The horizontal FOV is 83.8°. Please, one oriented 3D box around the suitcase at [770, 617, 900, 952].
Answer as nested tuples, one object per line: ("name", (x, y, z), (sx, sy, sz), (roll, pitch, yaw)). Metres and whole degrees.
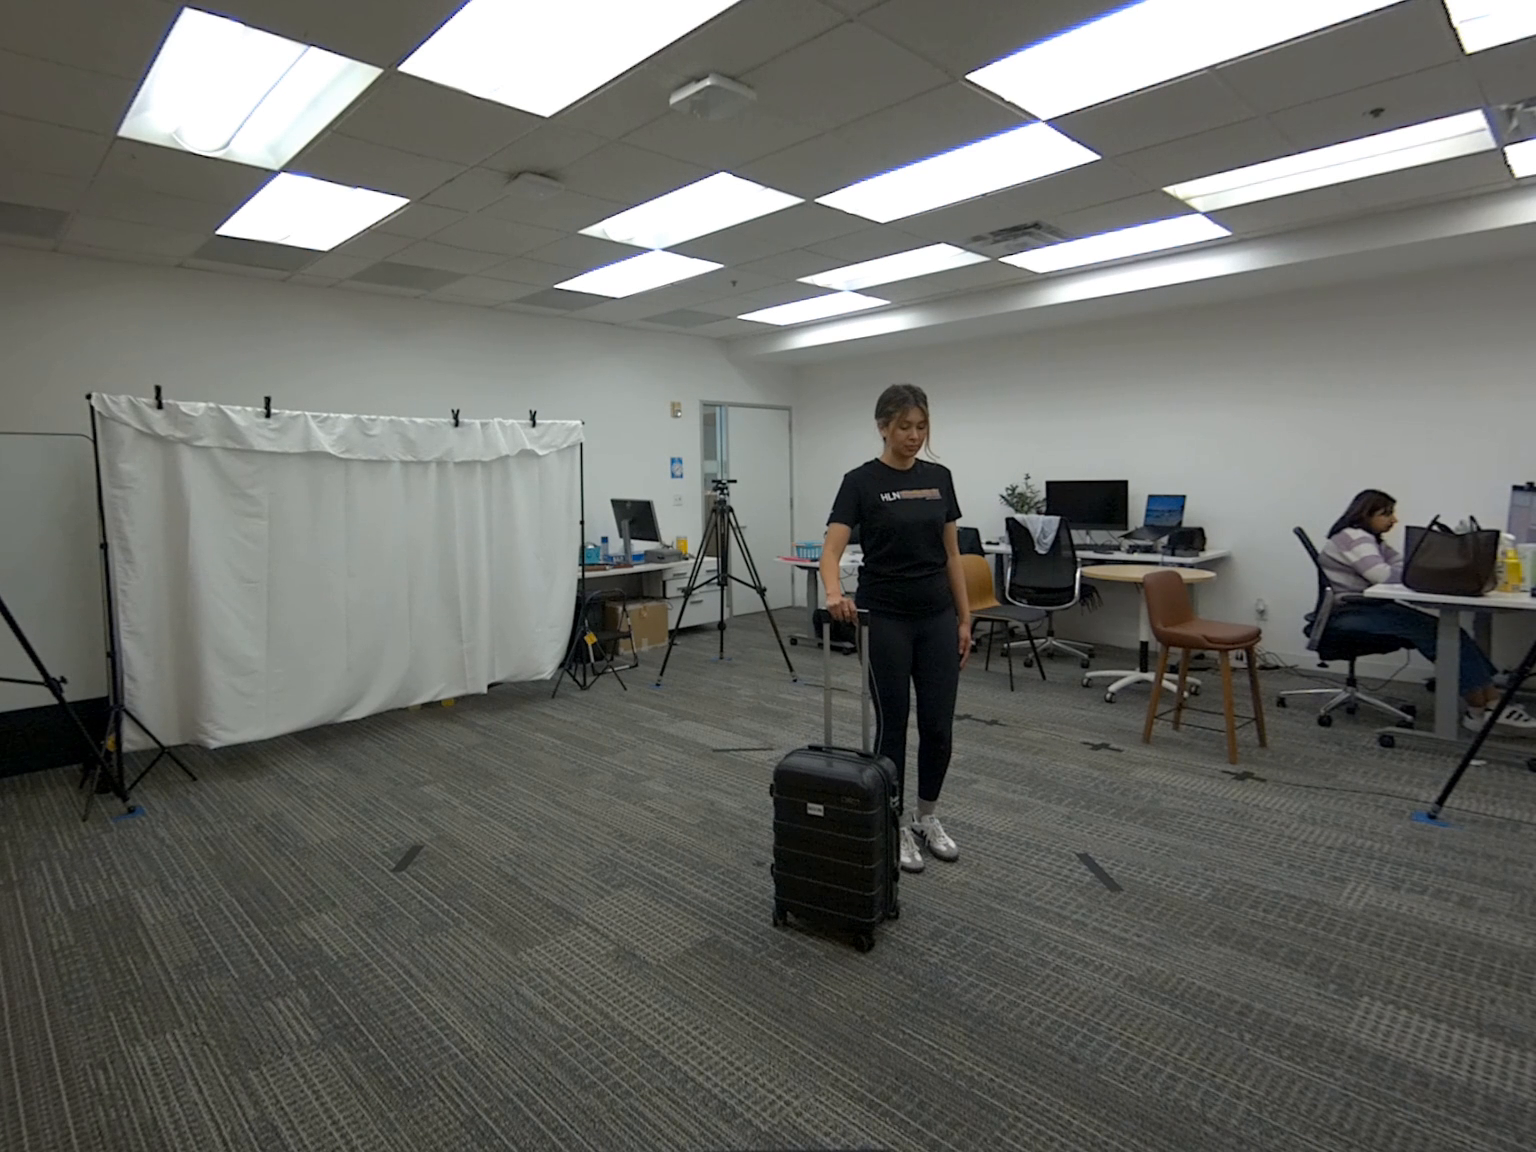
("suitcase", (0.213, 0.617, 2.639), (0.394, 0.973, 0.252), (2, 7, 29))
